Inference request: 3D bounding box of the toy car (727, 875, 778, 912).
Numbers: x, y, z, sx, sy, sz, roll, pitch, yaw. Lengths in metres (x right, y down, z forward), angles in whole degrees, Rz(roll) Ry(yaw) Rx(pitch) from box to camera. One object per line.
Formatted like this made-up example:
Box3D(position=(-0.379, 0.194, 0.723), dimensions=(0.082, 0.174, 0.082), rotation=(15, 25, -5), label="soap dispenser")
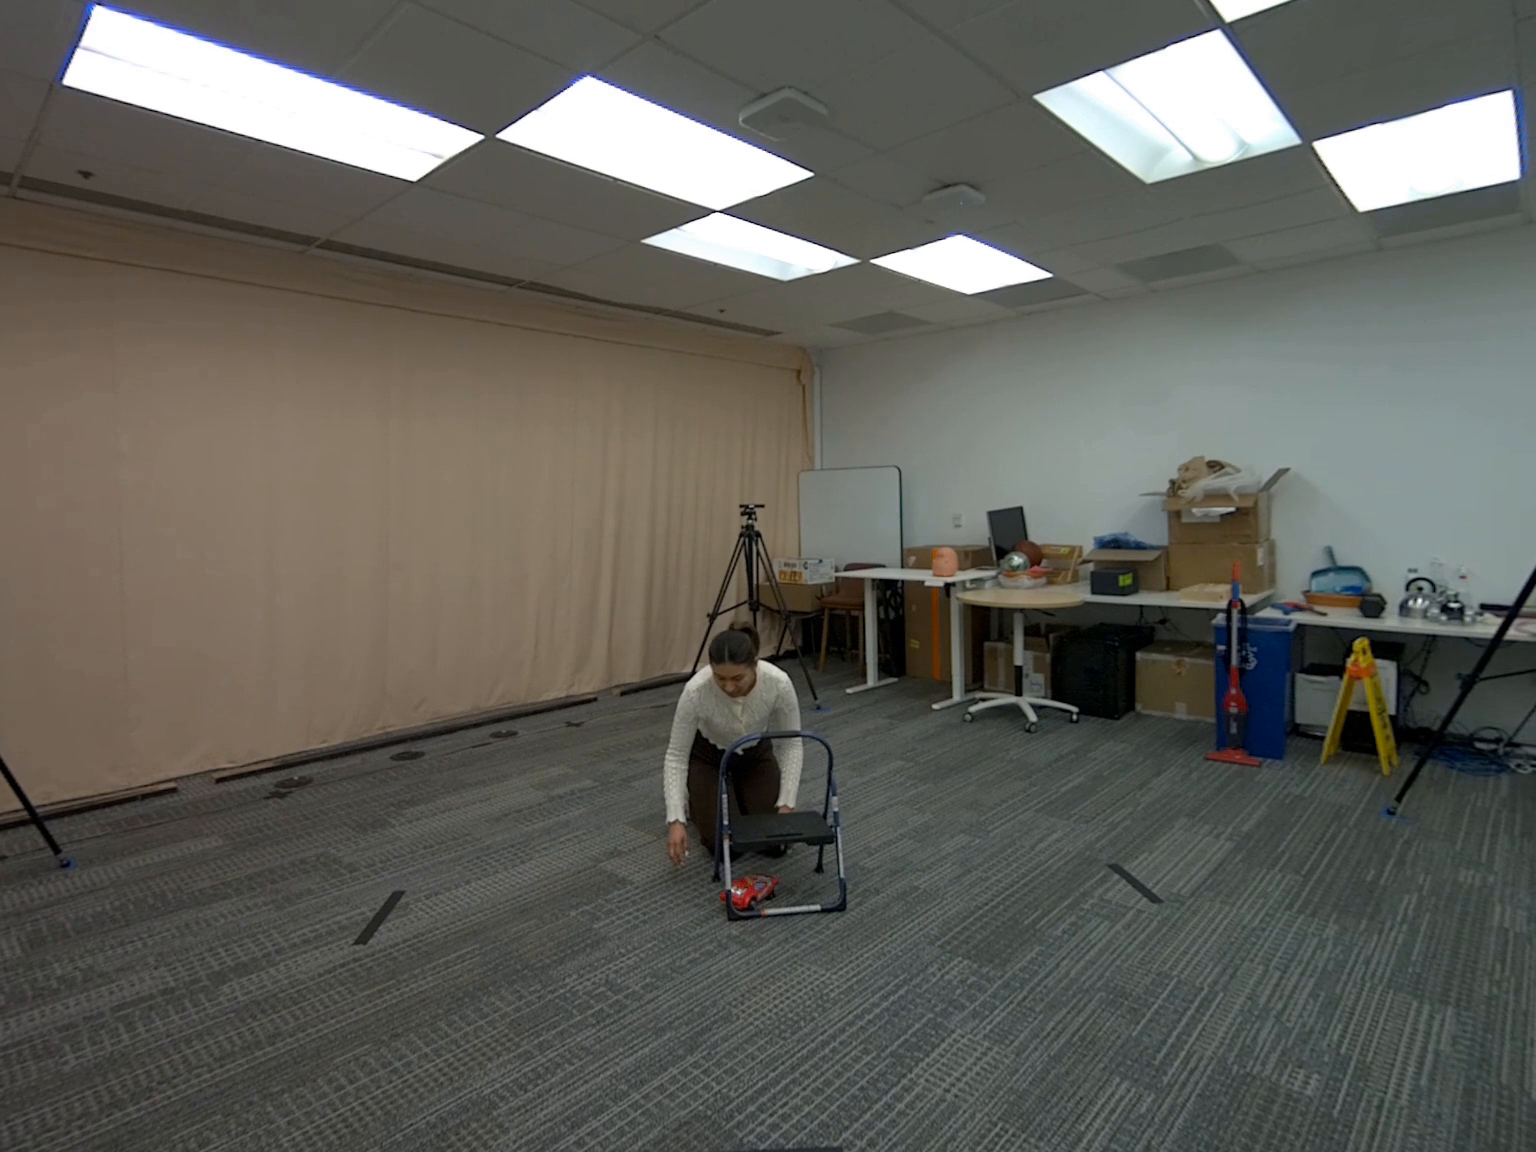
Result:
Box3D(position=(-0.069, 1.105, 2.959), dimensions=(0.134, 0.083, 0.246), rotation=(0, -6, 36), label="toy car")
